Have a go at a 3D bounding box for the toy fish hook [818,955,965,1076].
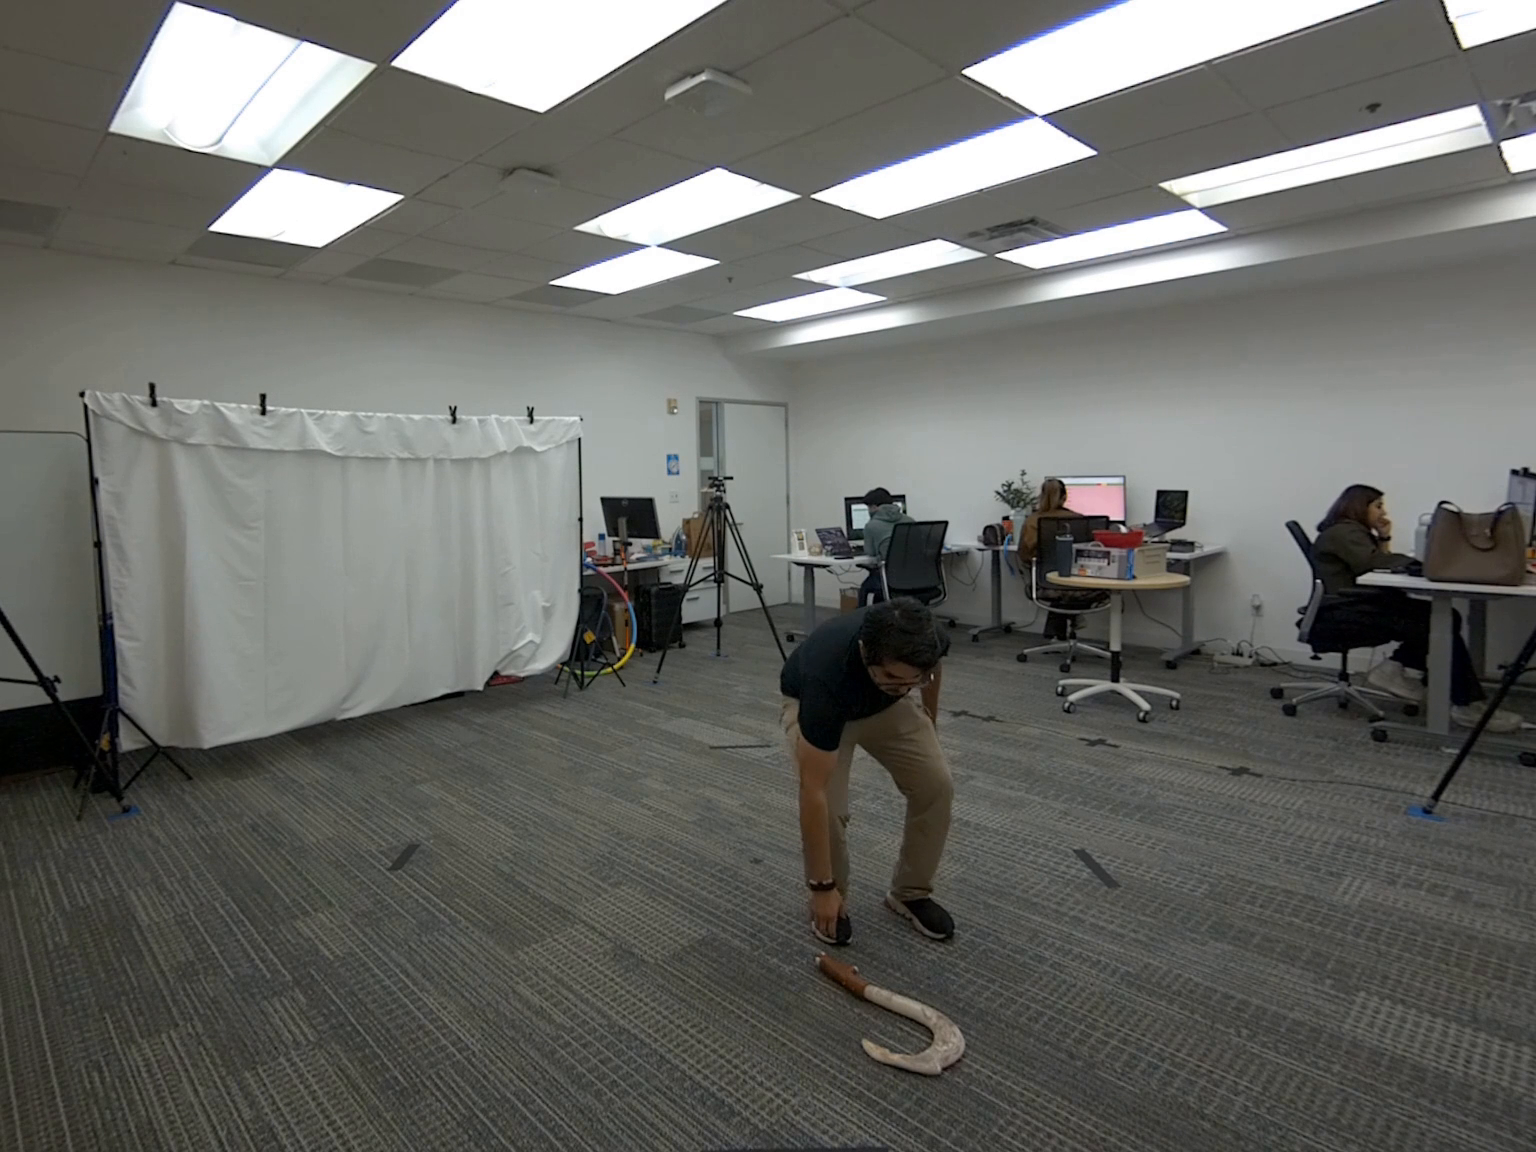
[{"bbox_3d":[0.272,1.118,2.204,0.219,0.048,0.522,-6,8,-38],"label":"toy fish hook"}]
